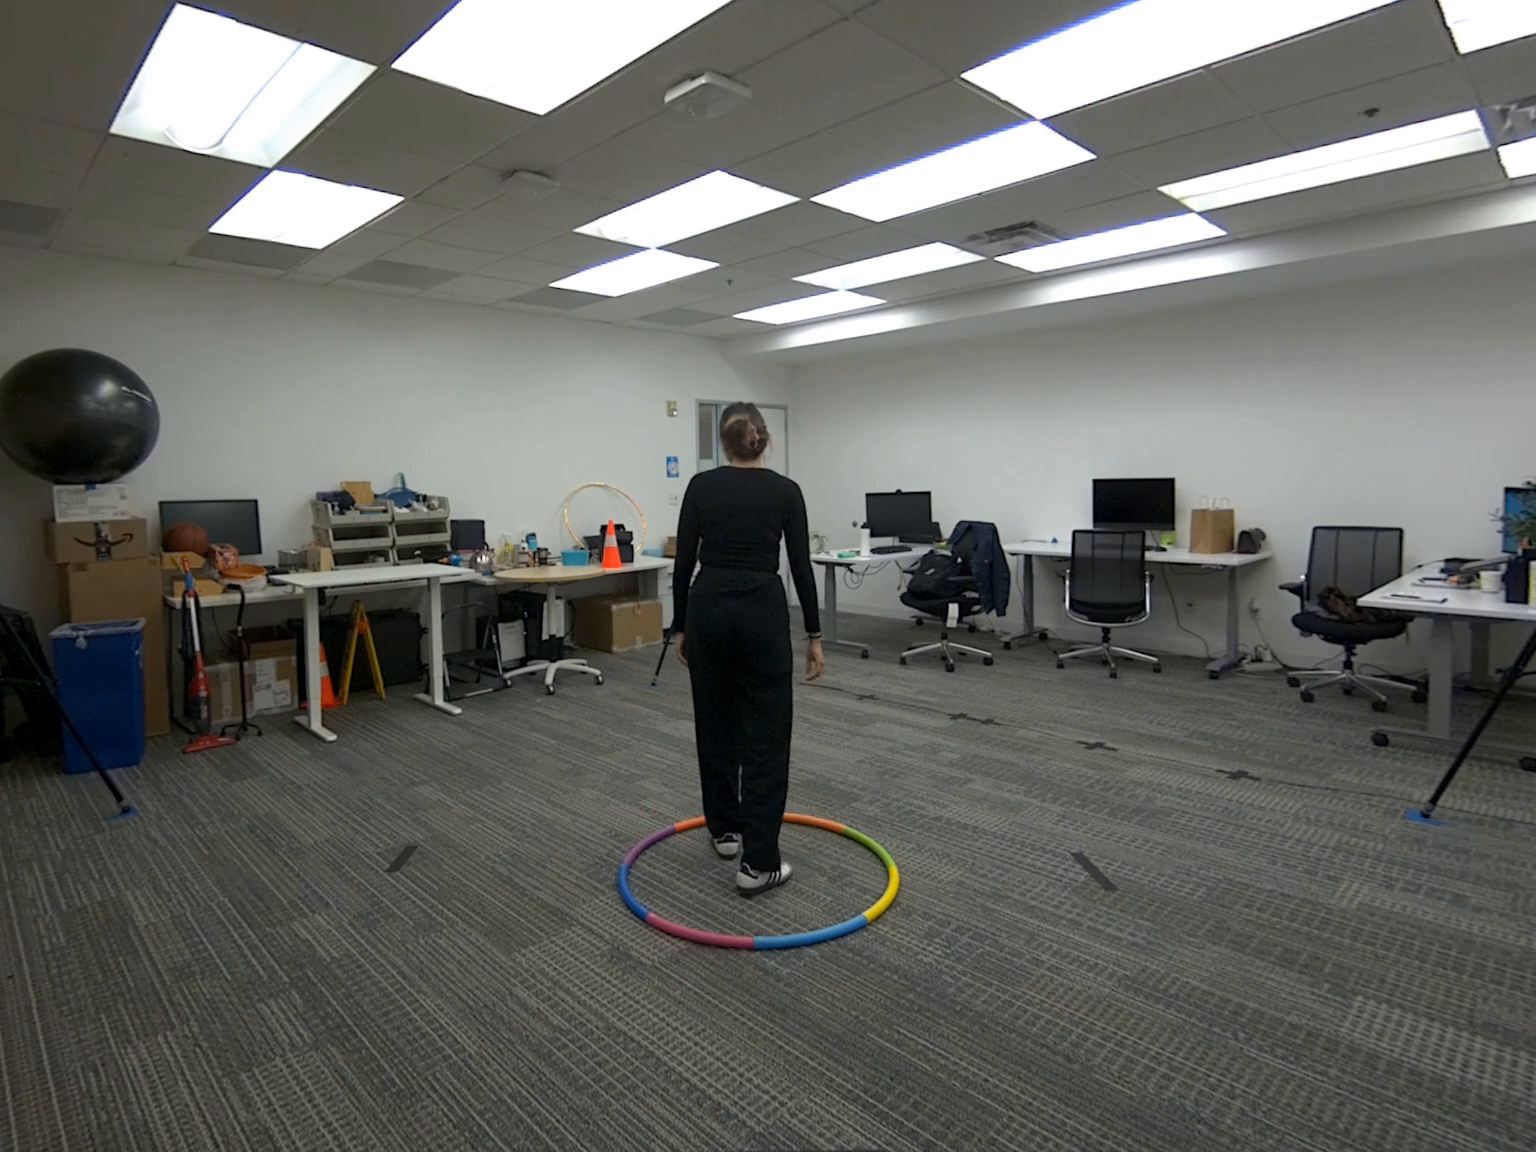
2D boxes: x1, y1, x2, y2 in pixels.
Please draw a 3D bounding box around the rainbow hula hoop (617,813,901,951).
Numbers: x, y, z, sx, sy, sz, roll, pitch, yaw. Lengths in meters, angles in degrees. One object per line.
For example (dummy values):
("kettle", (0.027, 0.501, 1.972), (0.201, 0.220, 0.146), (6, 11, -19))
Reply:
("rainbow hula hoop", (-0.036, 1.024, 3.020), (0.978, 0.035, 0.984), (-1, 7, -2))
